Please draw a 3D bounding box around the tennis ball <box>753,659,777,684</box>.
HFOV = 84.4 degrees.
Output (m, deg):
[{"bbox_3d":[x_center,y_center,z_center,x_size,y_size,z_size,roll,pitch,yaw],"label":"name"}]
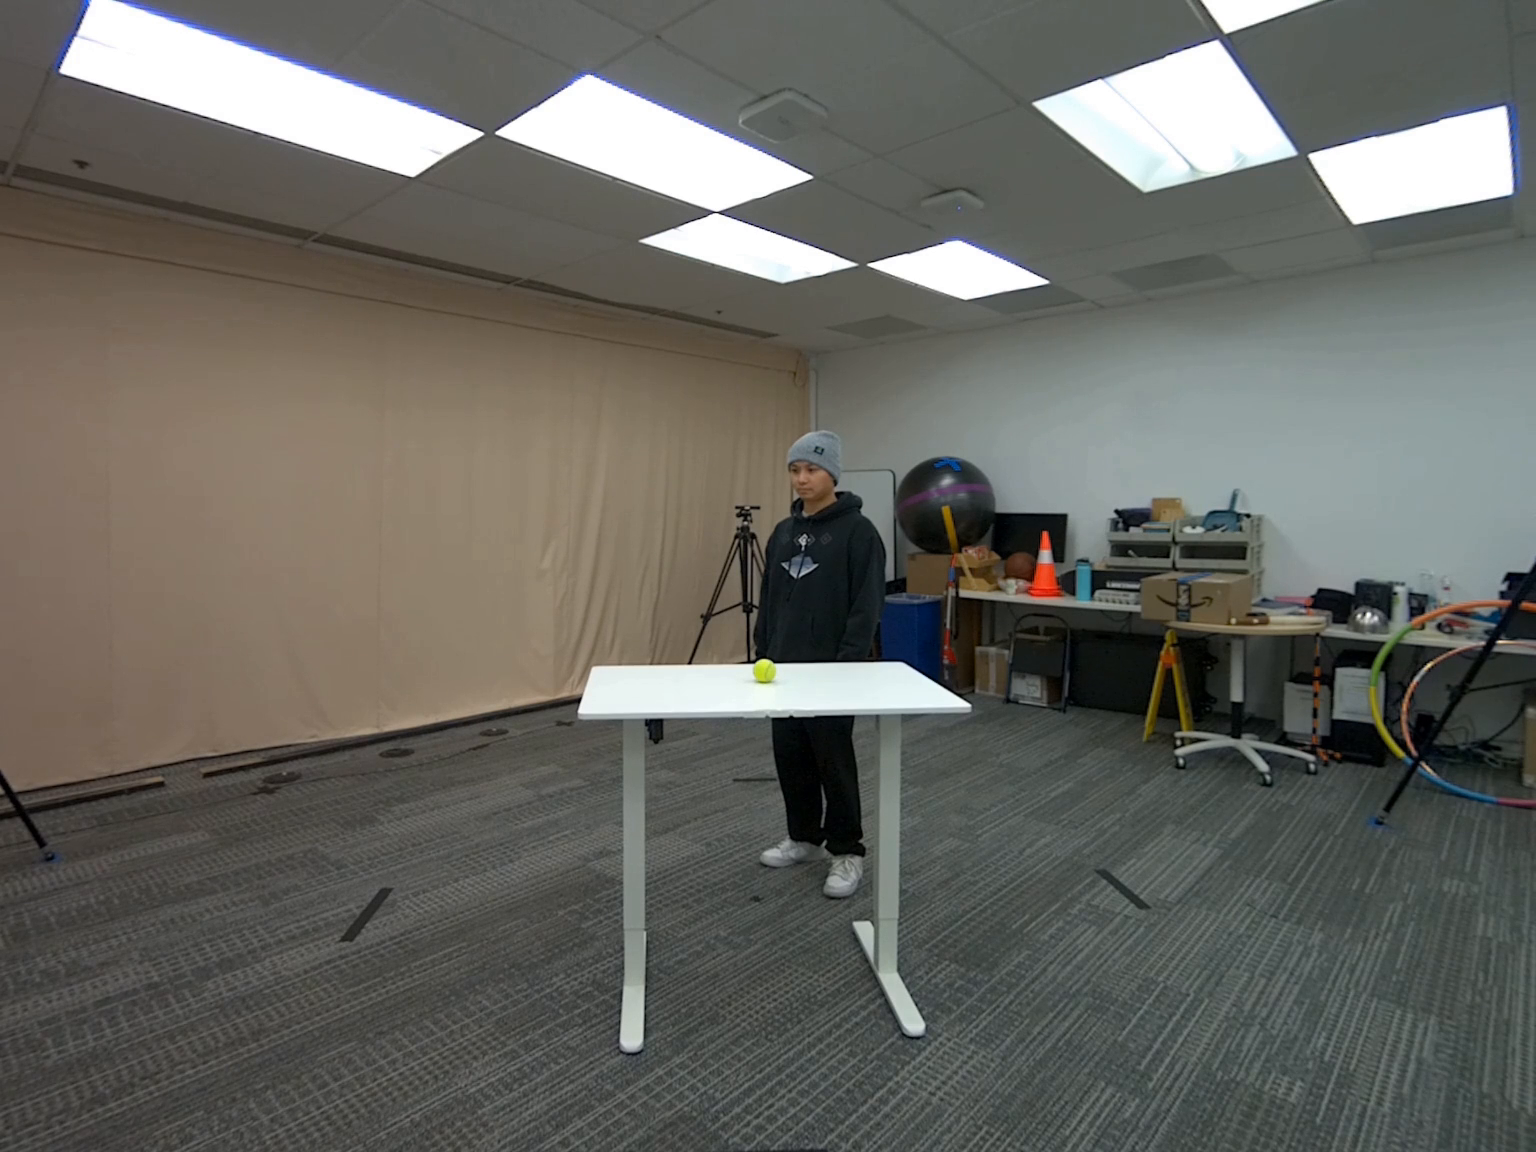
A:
[{"bbox_3d":[-0.011,0.273,2.447,0.066,0.066,0.067,0,4,-2],"label":"tennis ball"}]
